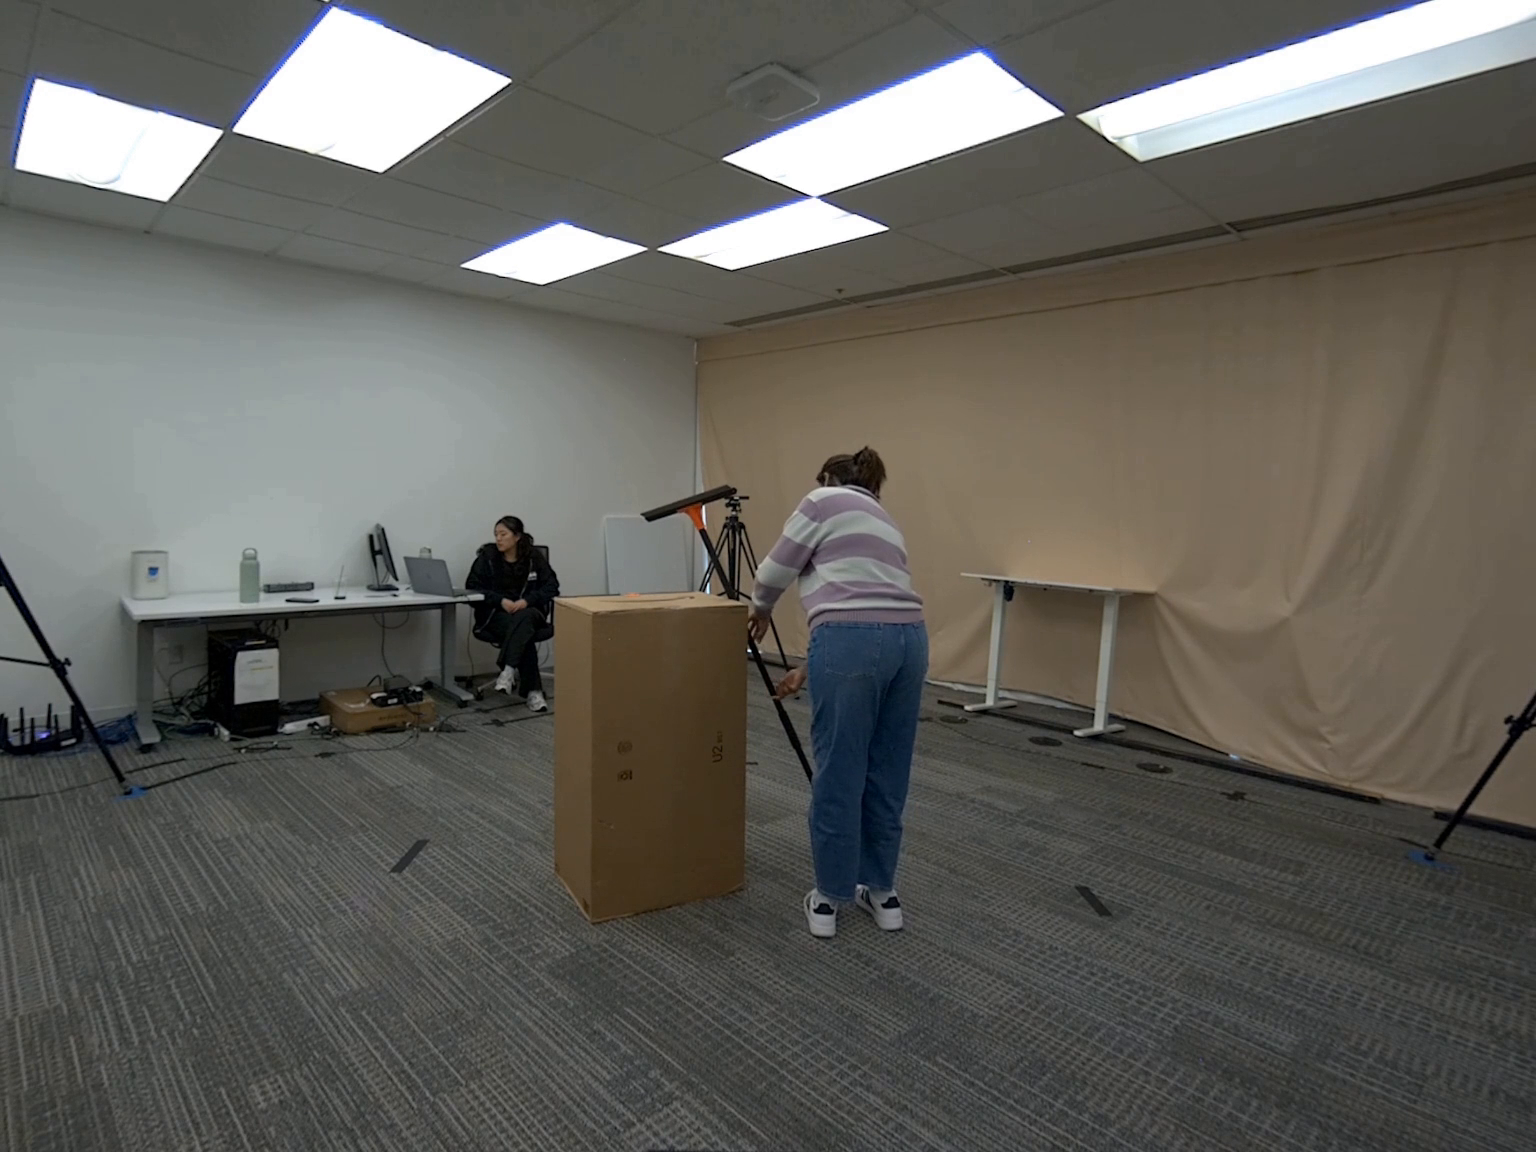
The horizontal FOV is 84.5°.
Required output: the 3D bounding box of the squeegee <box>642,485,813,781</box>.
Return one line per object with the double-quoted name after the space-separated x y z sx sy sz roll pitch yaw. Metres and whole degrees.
0.011 0.409 3.144 0.445 1.520 0.052 -14 15 39 "squeegee"
